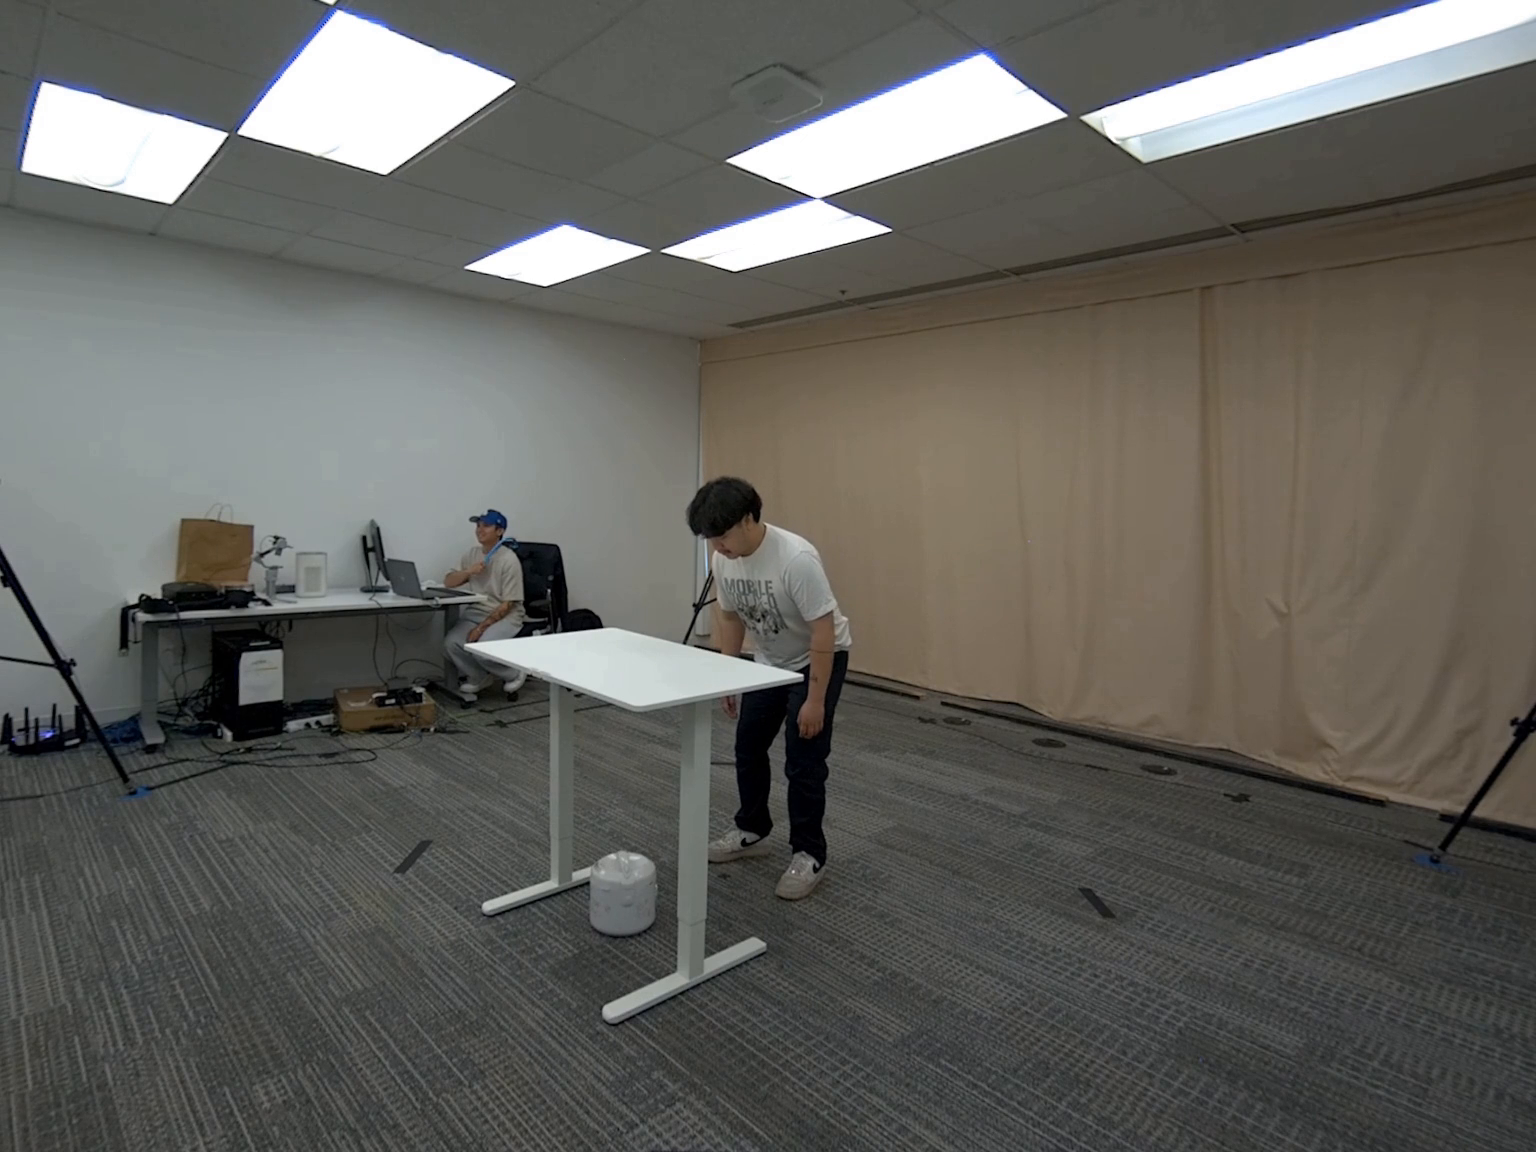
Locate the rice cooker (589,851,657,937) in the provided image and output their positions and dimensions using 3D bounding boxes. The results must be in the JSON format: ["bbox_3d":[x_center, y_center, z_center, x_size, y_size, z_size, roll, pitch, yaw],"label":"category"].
[{"bbox_3d":[-0.472,1.018,2.729,0.215,0.232,0.224,0,4,-15],"label":"rice cooker"}]
